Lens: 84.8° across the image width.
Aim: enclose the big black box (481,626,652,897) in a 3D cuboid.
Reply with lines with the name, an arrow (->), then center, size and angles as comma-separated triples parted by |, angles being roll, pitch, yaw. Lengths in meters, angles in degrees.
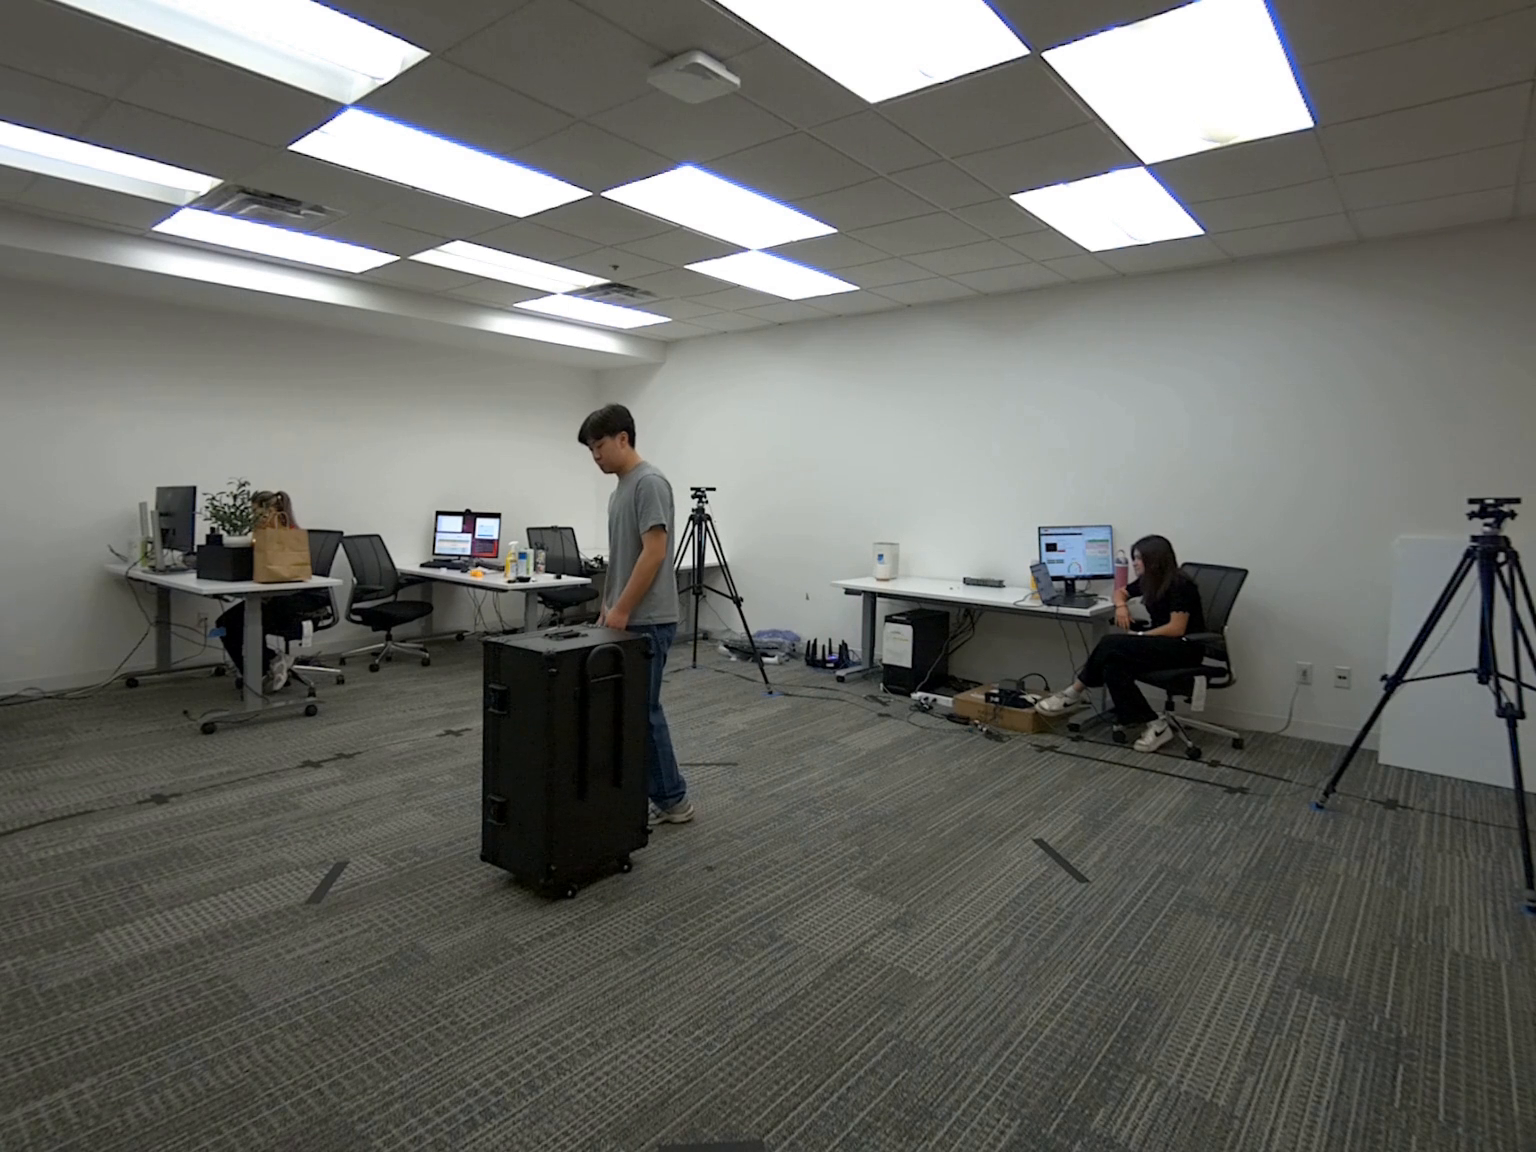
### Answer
big black box -> -0.720, 0.639, 3.032 | 0.409, 0.859, 0.506 | 5, 5, 37
